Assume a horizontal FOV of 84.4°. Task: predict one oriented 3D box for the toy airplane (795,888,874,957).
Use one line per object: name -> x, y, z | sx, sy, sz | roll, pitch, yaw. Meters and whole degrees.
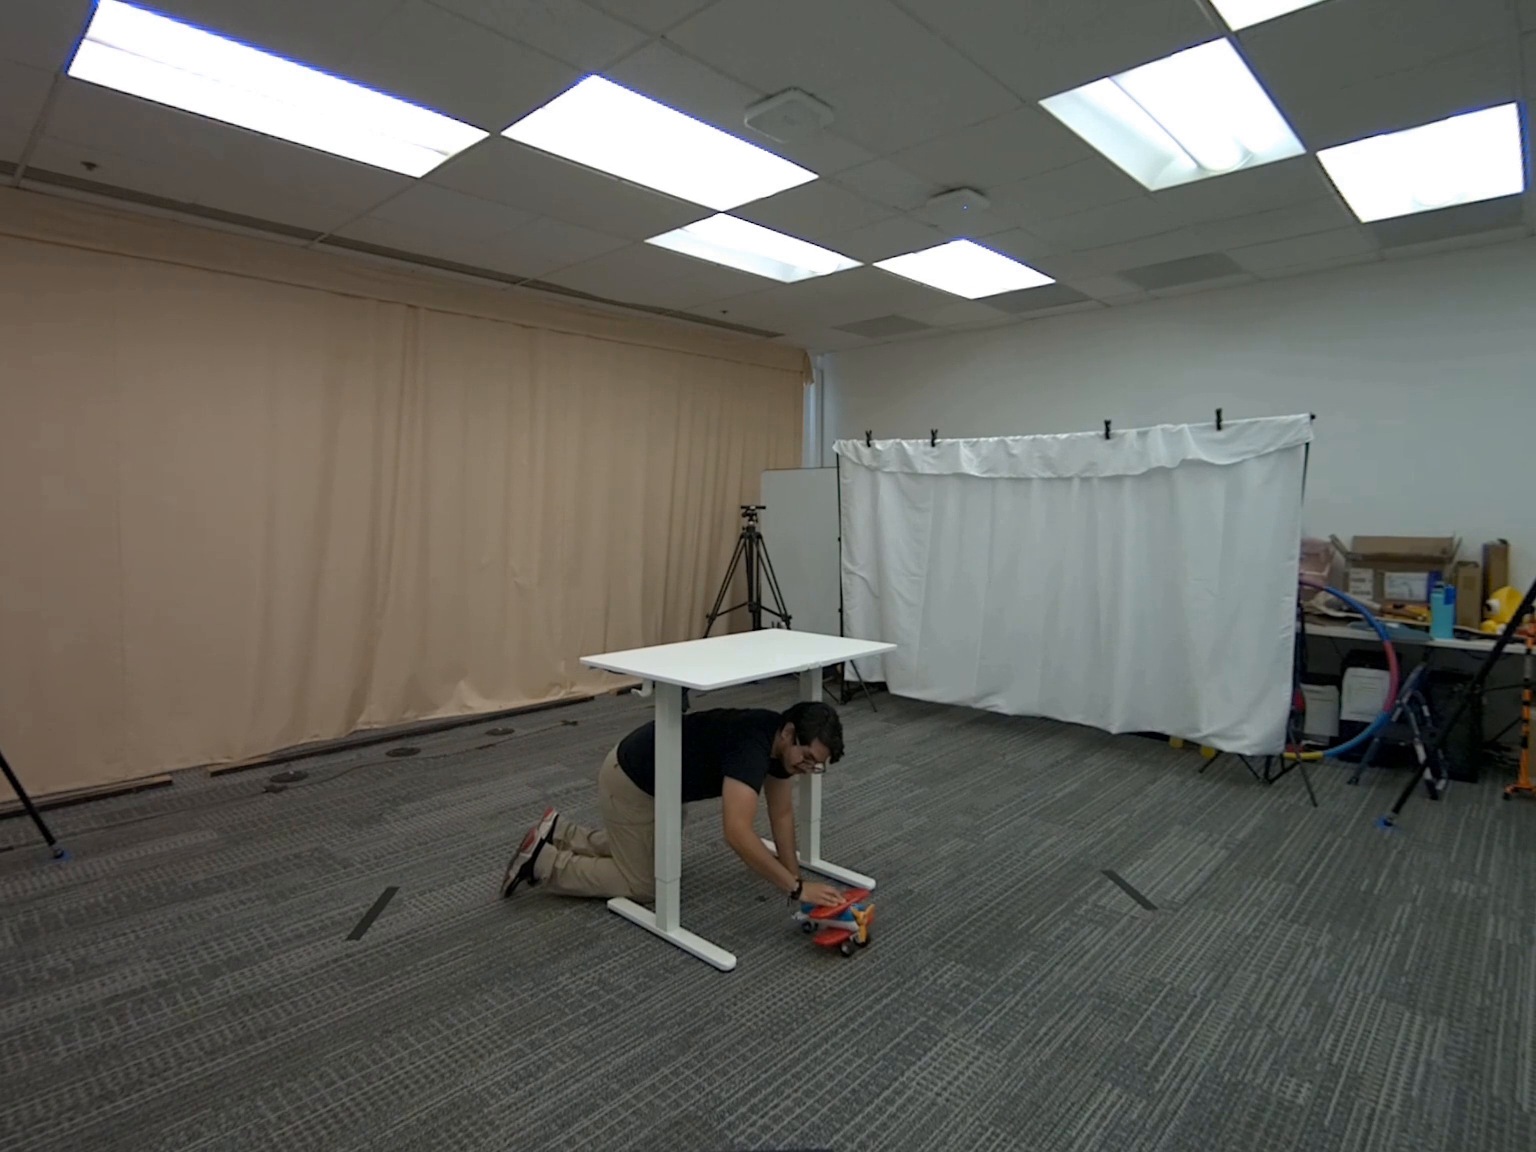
toy airplane -> 0.196, 1.088, 2.674 | 0.264, 0.156, 0.247 | 2, 4, 16
